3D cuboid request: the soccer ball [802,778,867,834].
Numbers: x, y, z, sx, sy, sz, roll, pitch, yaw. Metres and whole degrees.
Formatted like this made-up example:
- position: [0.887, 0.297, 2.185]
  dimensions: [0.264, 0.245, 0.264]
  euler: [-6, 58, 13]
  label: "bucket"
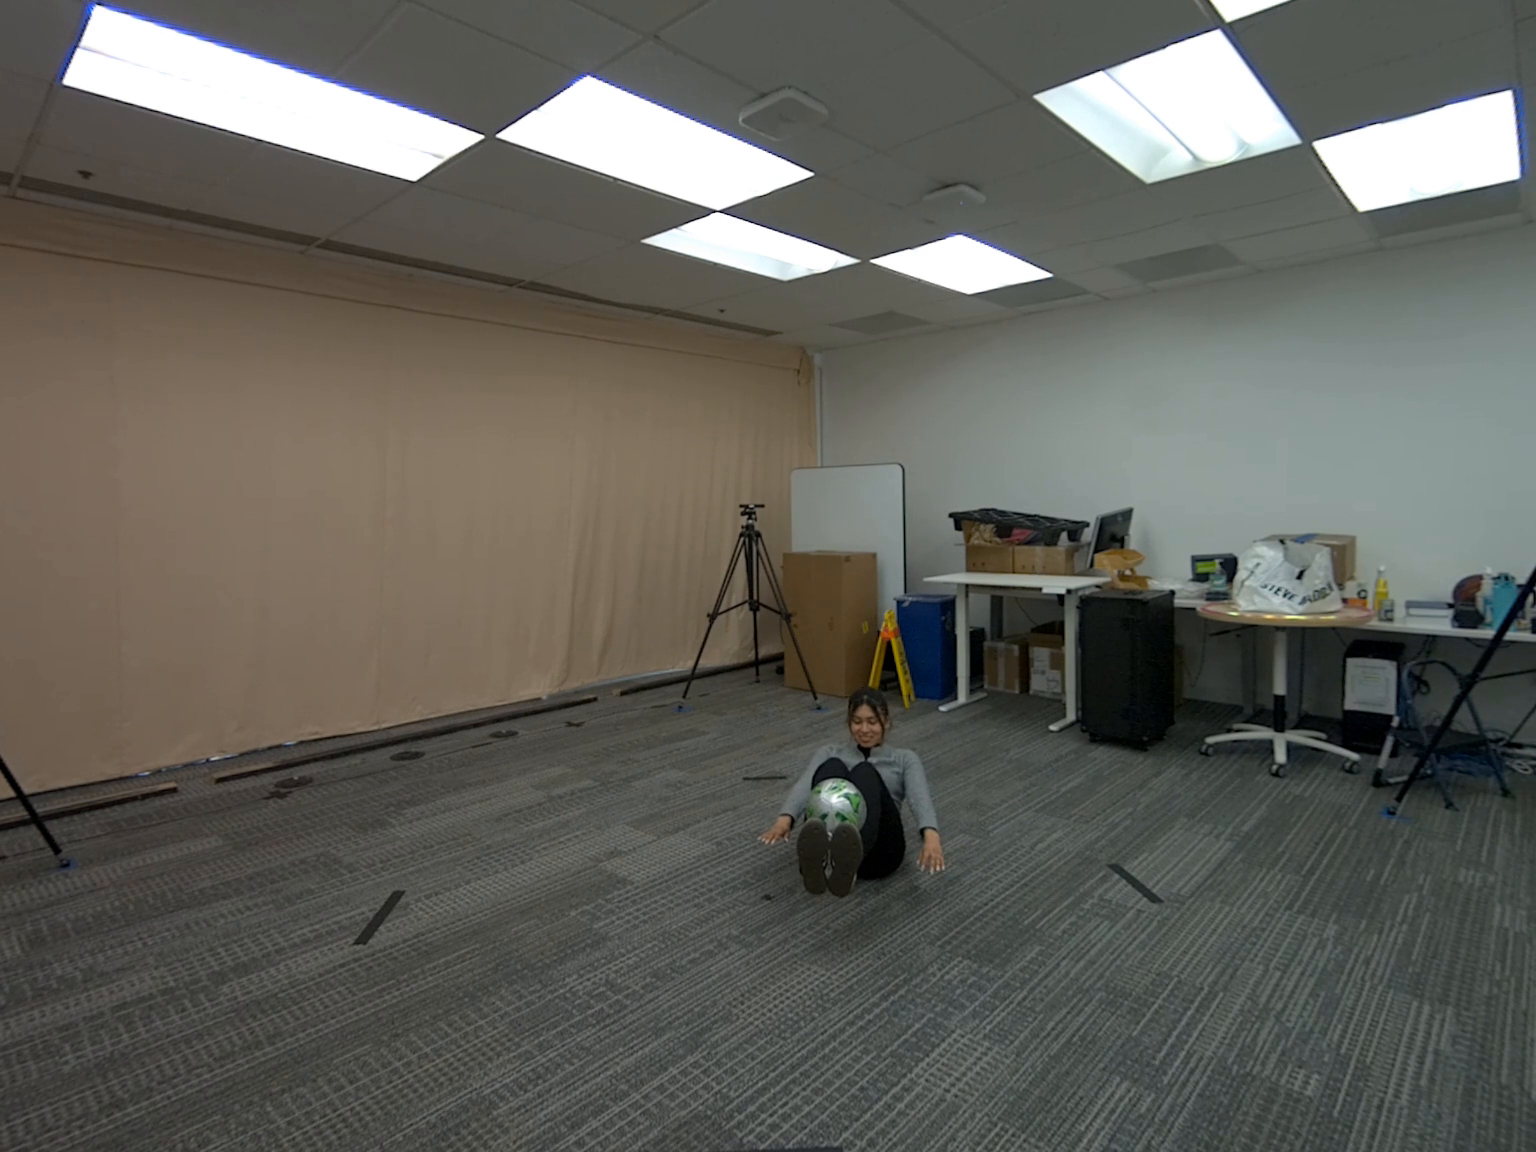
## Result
- position: [0.218, 0.727, 2.616]
  dimensions: [0.187, 0.187, 0.188]
  euler: [-1, 4, -2]
  label: "soccer ball"
